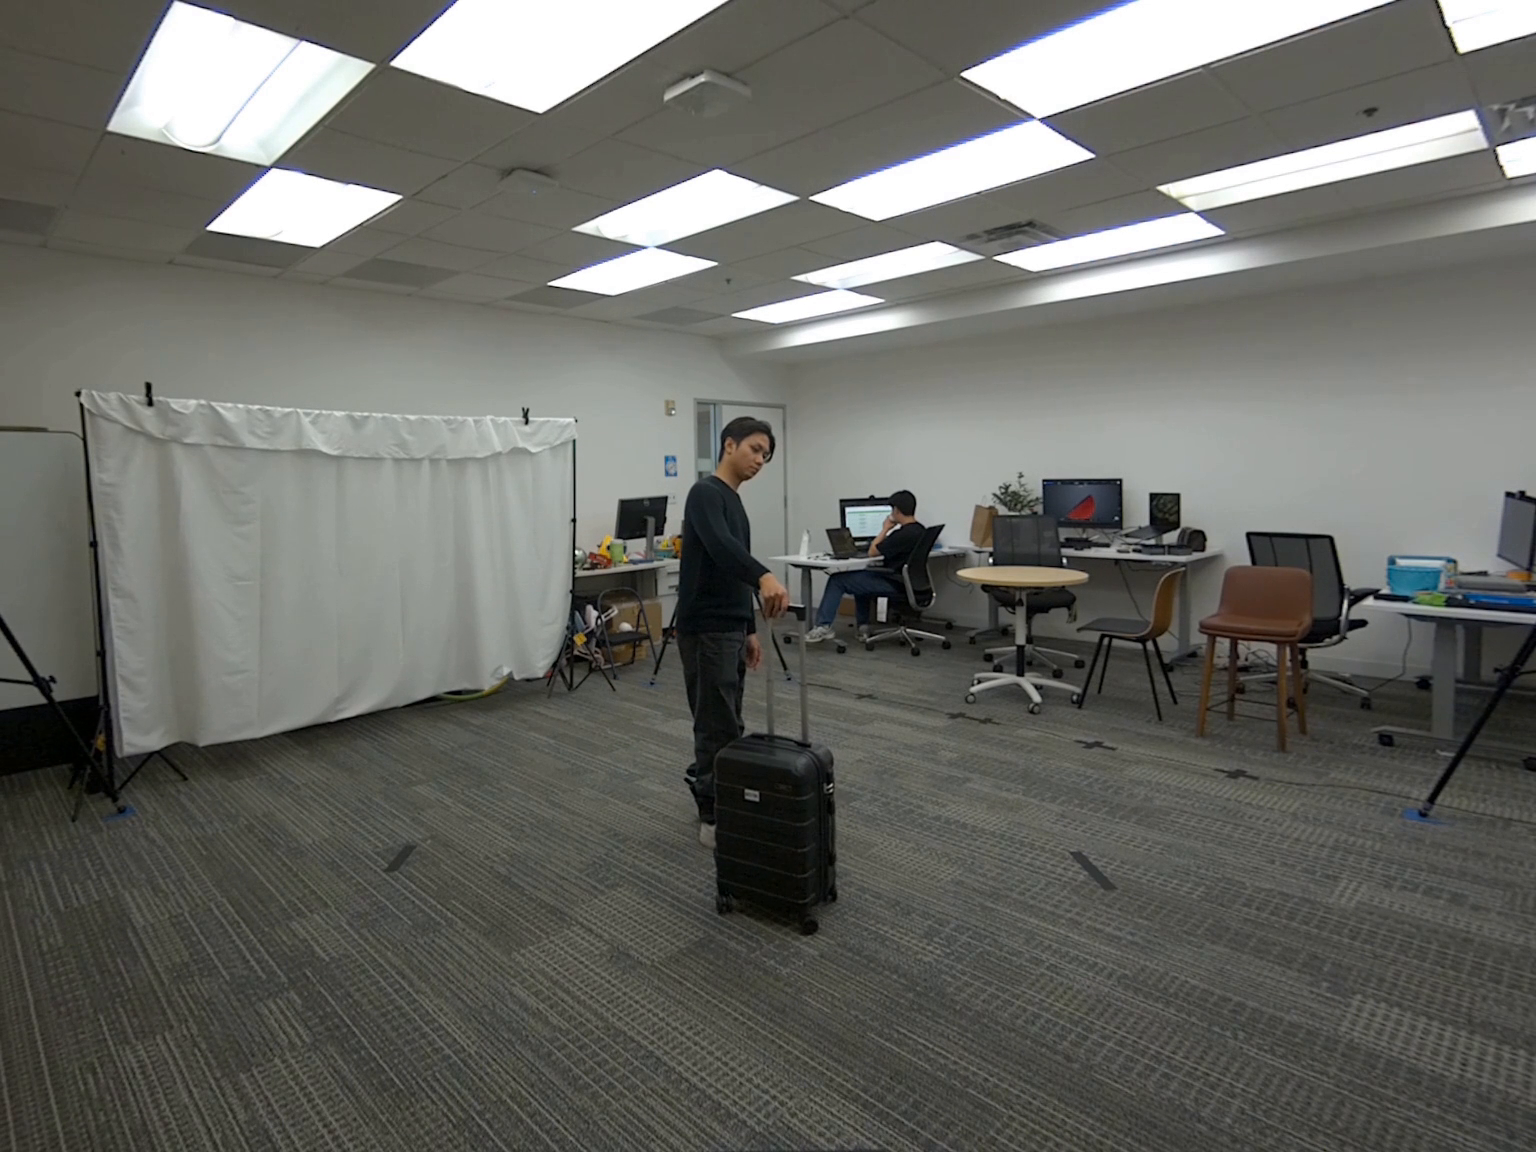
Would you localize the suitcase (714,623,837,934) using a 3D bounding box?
[{"bbox_3d":[0.024,0.608,2.748,0.393,0.975,0.252,0,5,28],"label":"suitcase"}]
